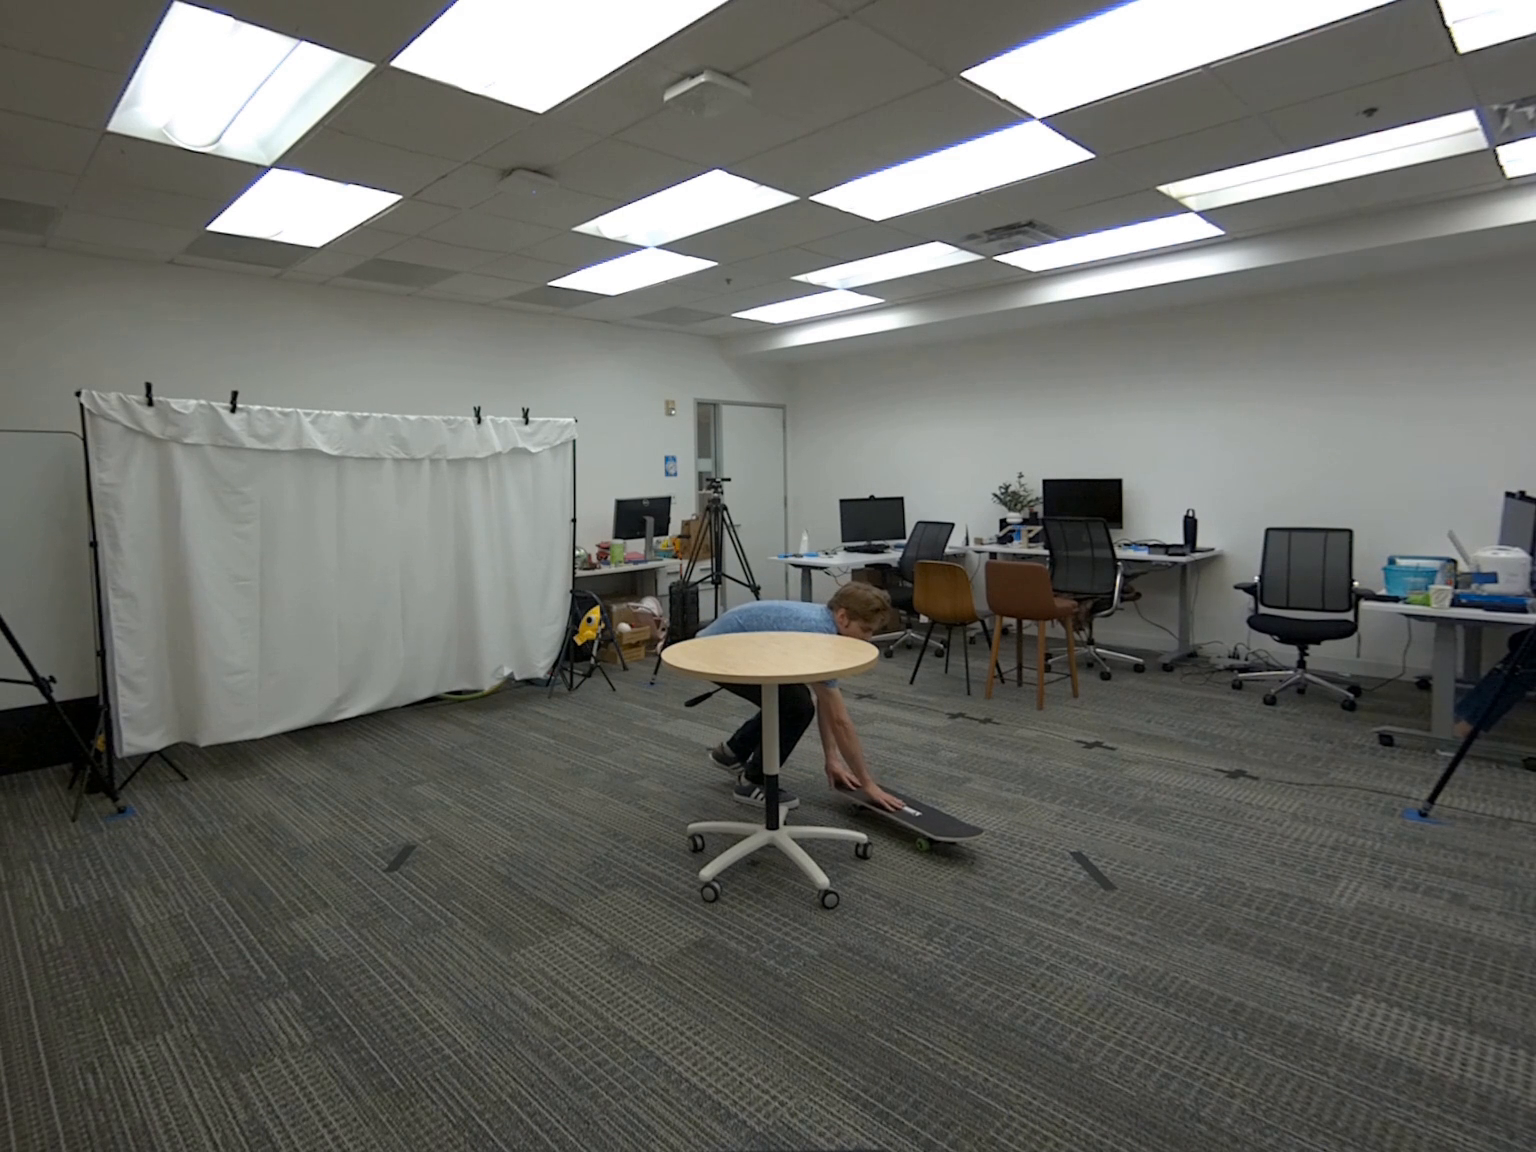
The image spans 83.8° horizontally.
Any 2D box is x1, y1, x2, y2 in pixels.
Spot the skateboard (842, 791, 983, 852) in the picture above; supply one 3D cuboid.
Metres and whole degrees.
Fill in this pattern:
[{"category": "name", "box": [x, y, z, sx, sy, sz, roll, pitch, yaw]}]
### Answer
[{"category": "skateboard", "box": [0.530, 0.946, 3.379, 0.189, 0.110, 0.807, -3, 6, -31]}]
